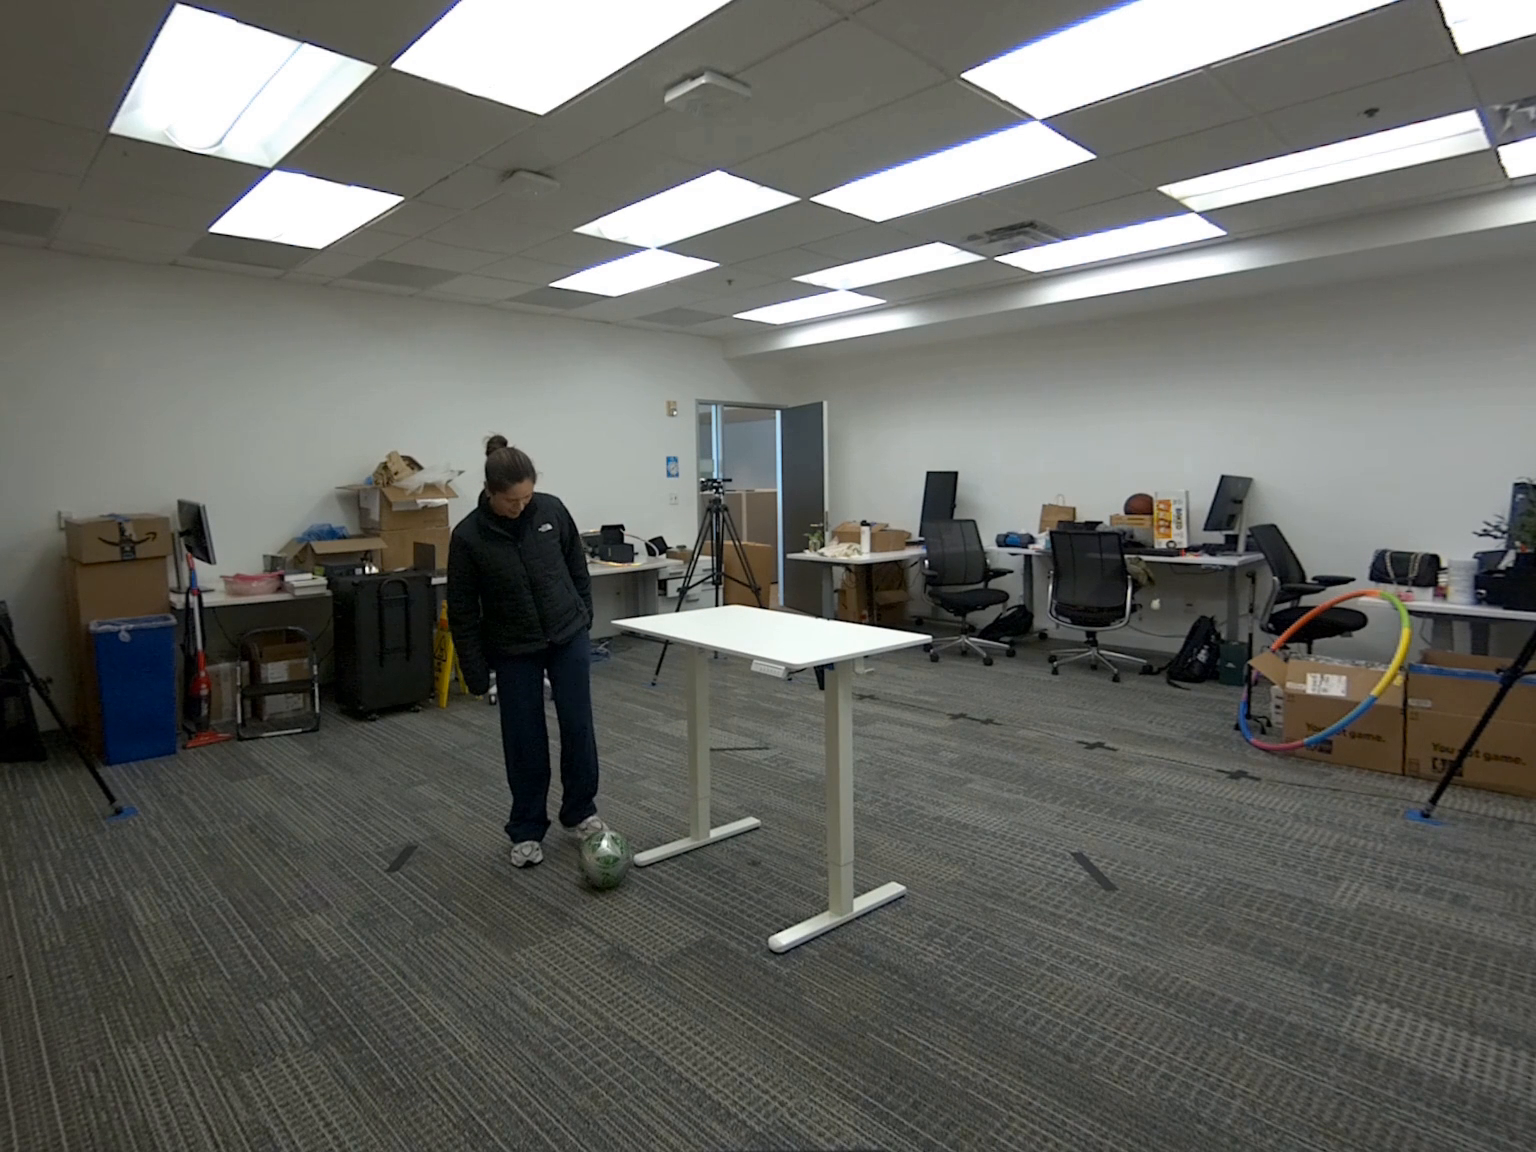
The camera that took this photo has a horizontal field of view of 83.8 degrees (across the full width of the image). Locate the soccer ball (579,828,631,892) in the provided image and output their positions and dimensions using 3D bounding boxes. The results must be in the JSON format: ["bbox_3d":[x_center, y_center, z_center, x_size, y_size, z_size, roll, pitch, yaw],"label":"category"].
[{"bbox_3d":[-0.561,0.979,2.947,0.187,0.187,0.188,-1,5,-2],"label":"soccer ball"}]
